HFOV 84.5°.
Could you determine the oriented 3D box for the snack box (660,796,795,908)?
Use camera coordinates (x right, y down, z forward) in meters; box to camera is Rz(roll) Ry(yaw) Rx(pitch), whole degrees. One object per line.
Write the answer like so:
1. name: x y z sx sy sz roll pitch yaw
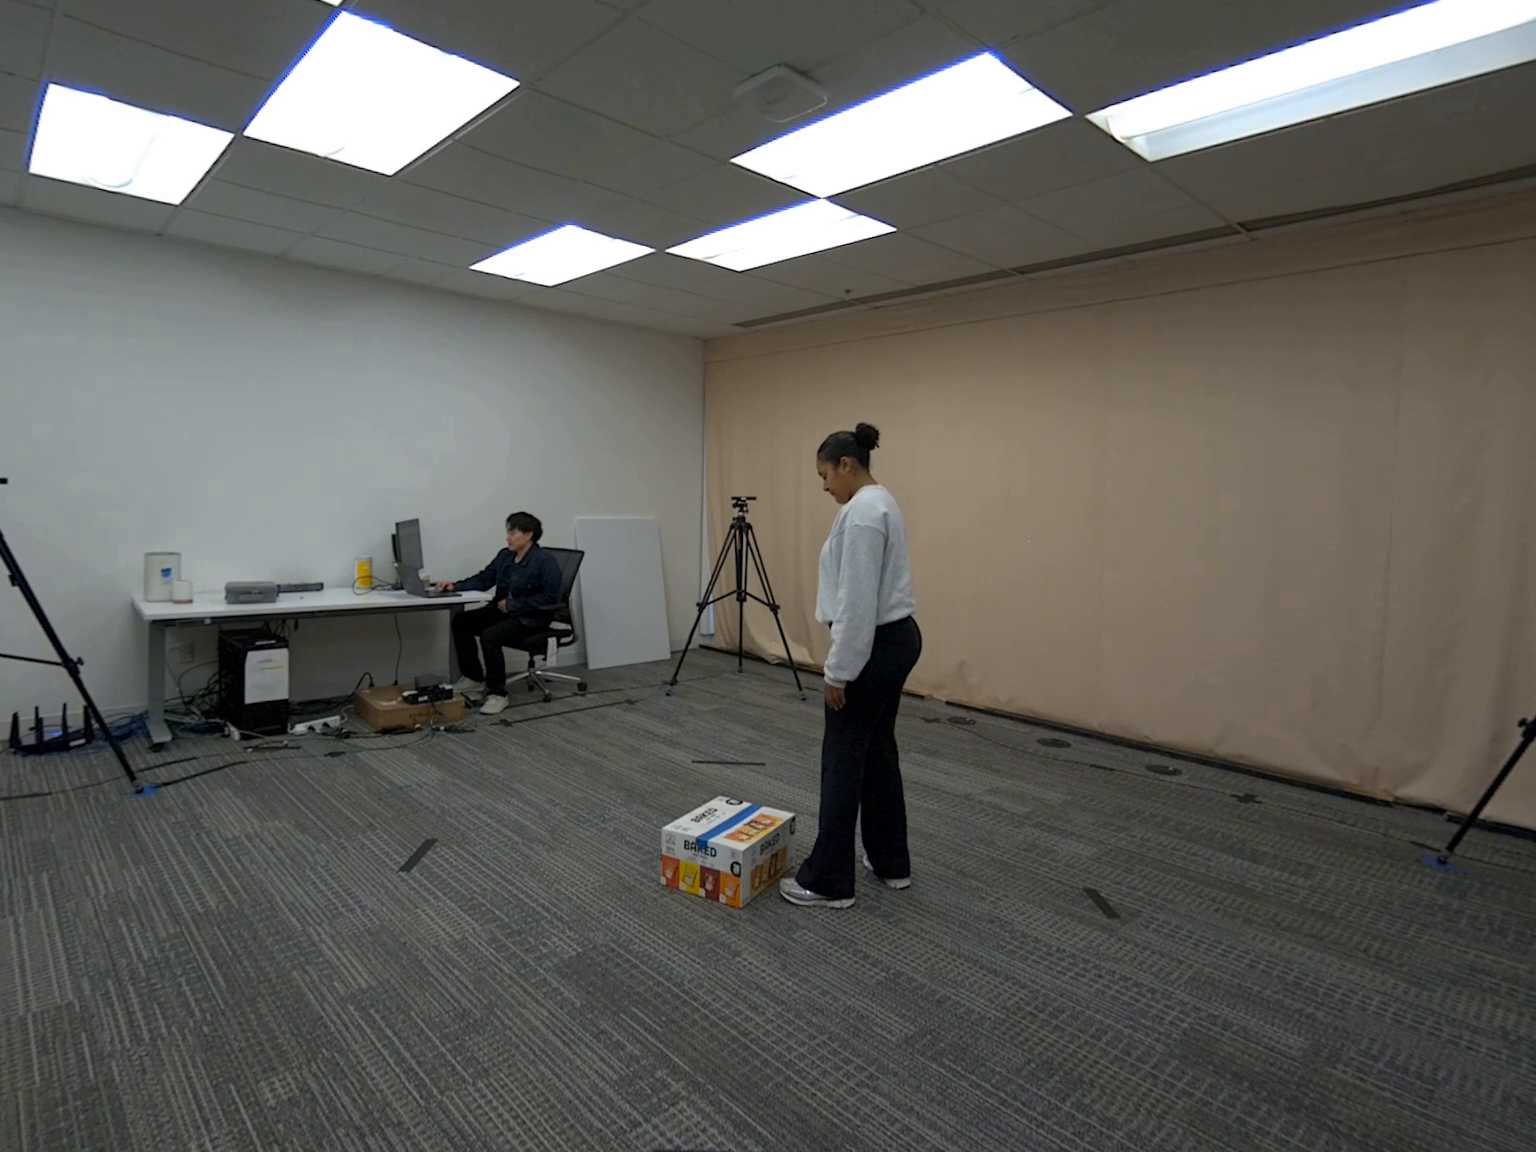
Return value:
1. snack box: -0.143 1.000 3.105 0.348 0.205 0.397 4 6 30
